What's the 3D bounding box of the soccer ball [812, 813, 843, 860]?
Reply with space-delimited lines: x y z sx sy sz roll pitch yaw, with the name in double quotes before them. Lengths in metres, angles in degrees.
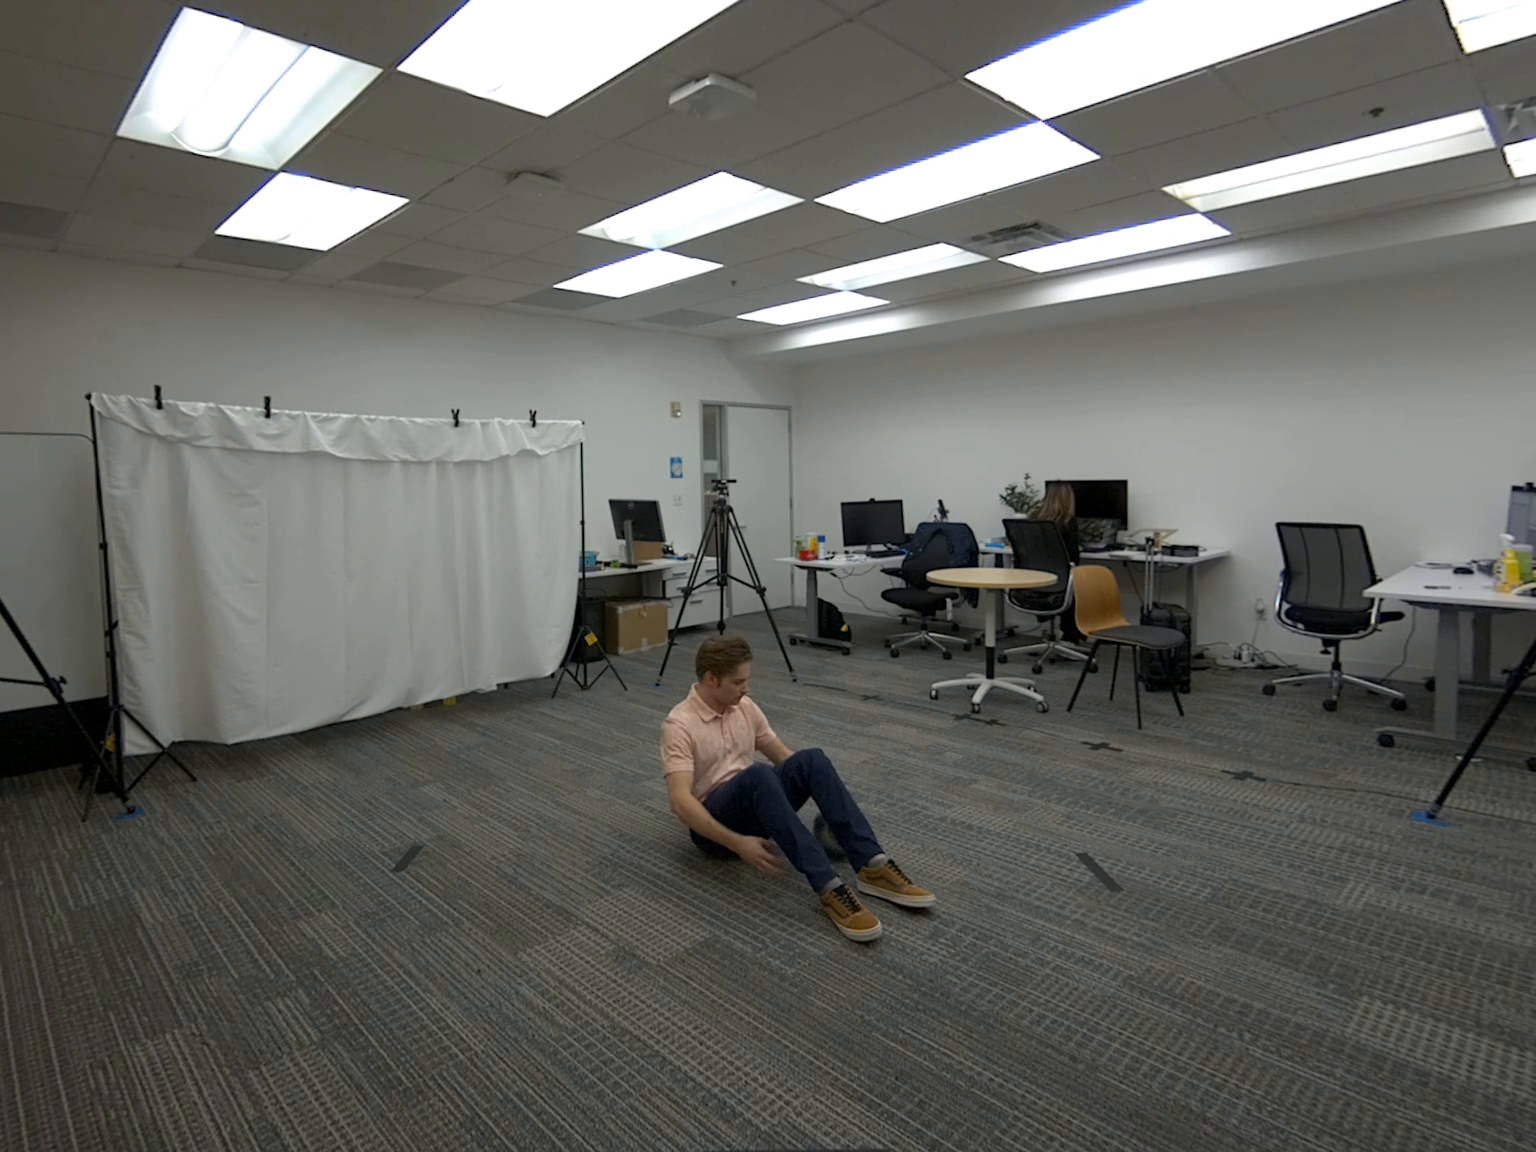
"soccer ball" 0.259 0.940 3.163 0.187 0.187 0.188 -1 5 -2
